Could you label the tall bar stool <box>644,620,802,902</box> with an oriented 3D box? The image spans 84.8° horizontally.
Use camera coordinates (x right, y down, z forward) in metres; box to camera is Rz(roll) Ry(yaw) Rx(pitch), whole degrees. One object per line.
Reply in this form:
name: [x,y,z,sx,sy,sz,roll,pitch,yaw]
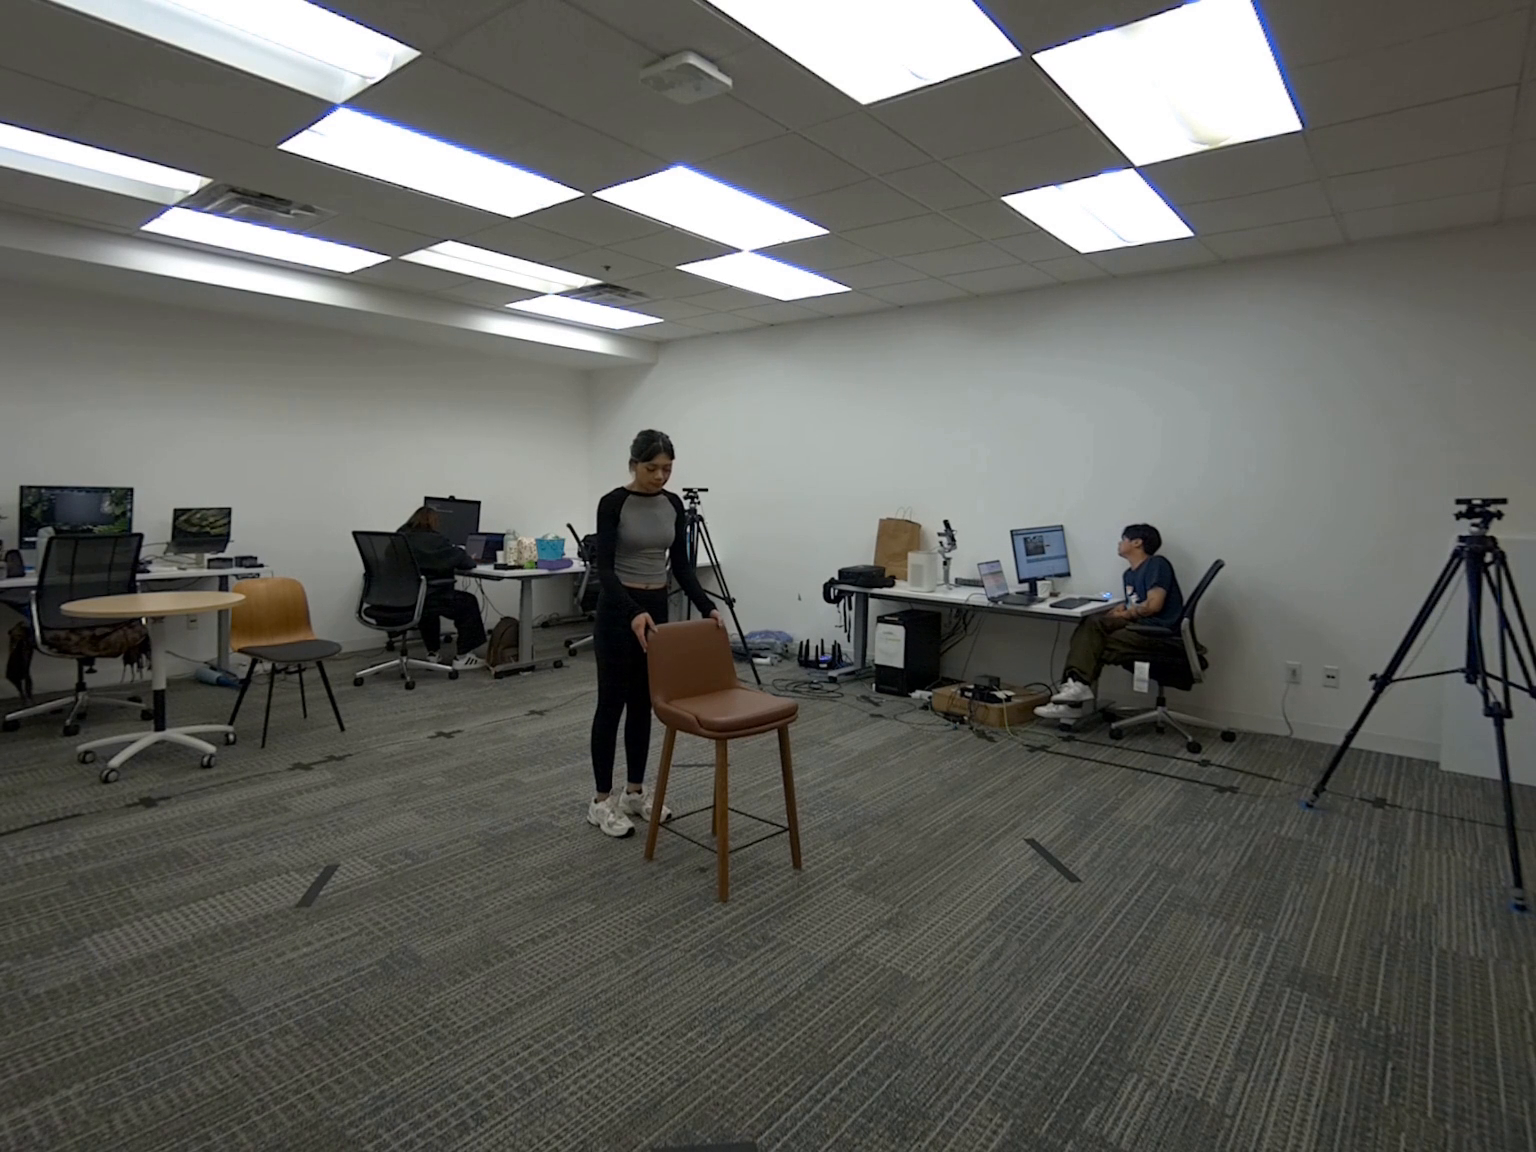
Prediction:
tall bar stool: [-0.181,0.627,3.143,0.483,0.889,0.442,1,2,44]
